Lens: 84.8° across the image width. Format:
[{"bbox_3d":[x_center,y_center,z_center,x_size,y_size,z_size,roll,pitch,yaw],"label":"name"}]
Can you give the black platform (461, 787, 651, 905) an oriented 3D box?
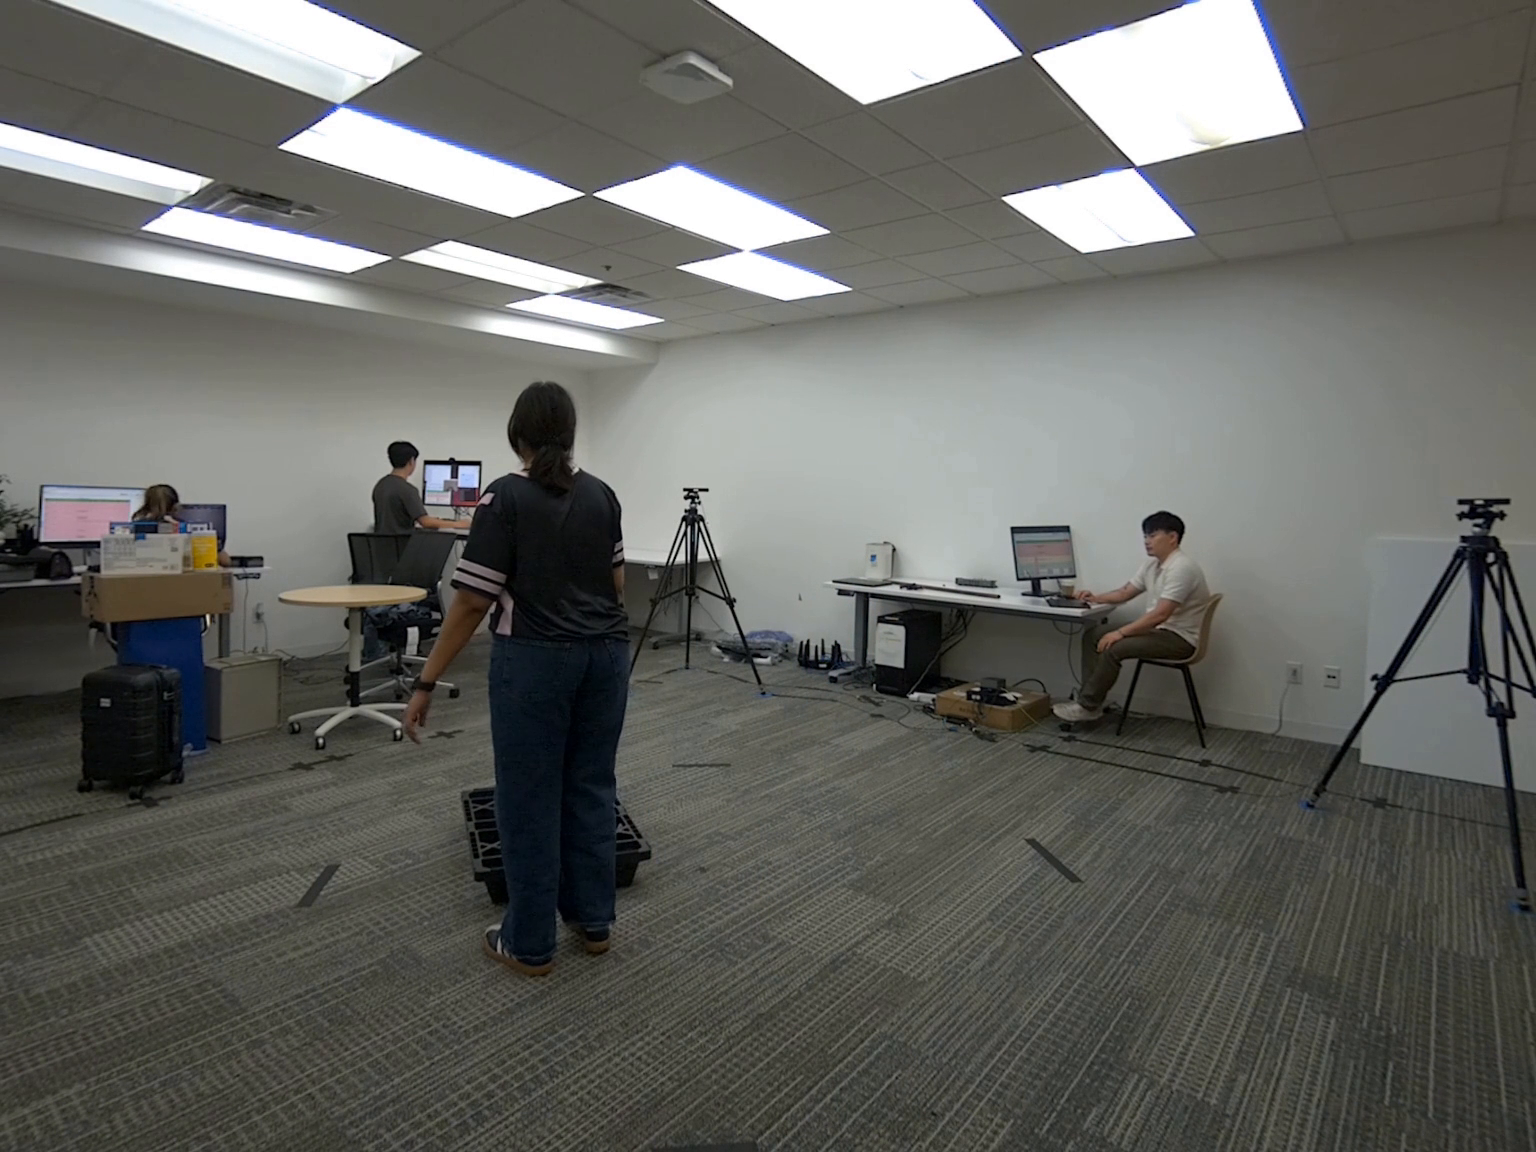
[{"bbox_3d":[-0.844,0.977,3.218,0.593,0.143,0.825,-2,6,-21],"label":"black platform"}]
